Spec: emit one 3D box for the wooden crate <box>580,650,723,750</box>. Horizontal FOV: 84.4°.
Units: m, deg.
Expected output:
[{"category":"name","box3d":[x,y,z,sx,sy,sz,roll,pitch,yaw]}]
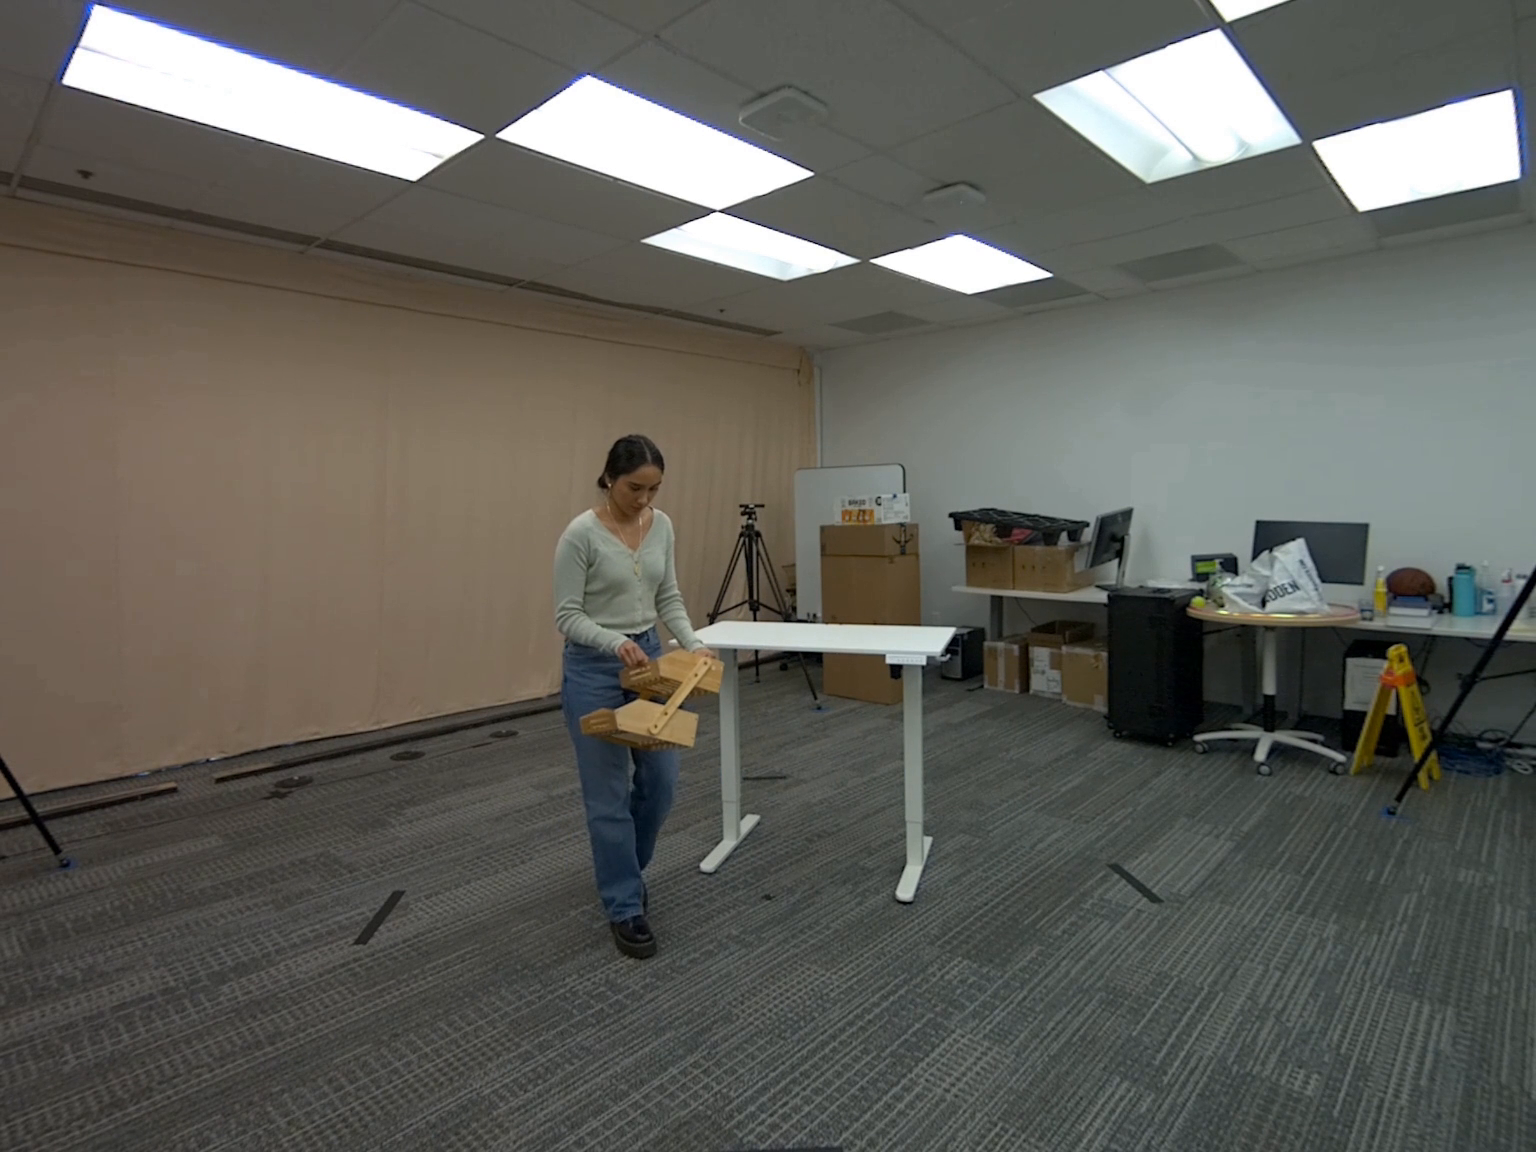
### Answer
[{"category":"wooden crate","box3d":[-0.349,0.355,2.496,0.294,0.275,0.330,20,-22,-24]}]
